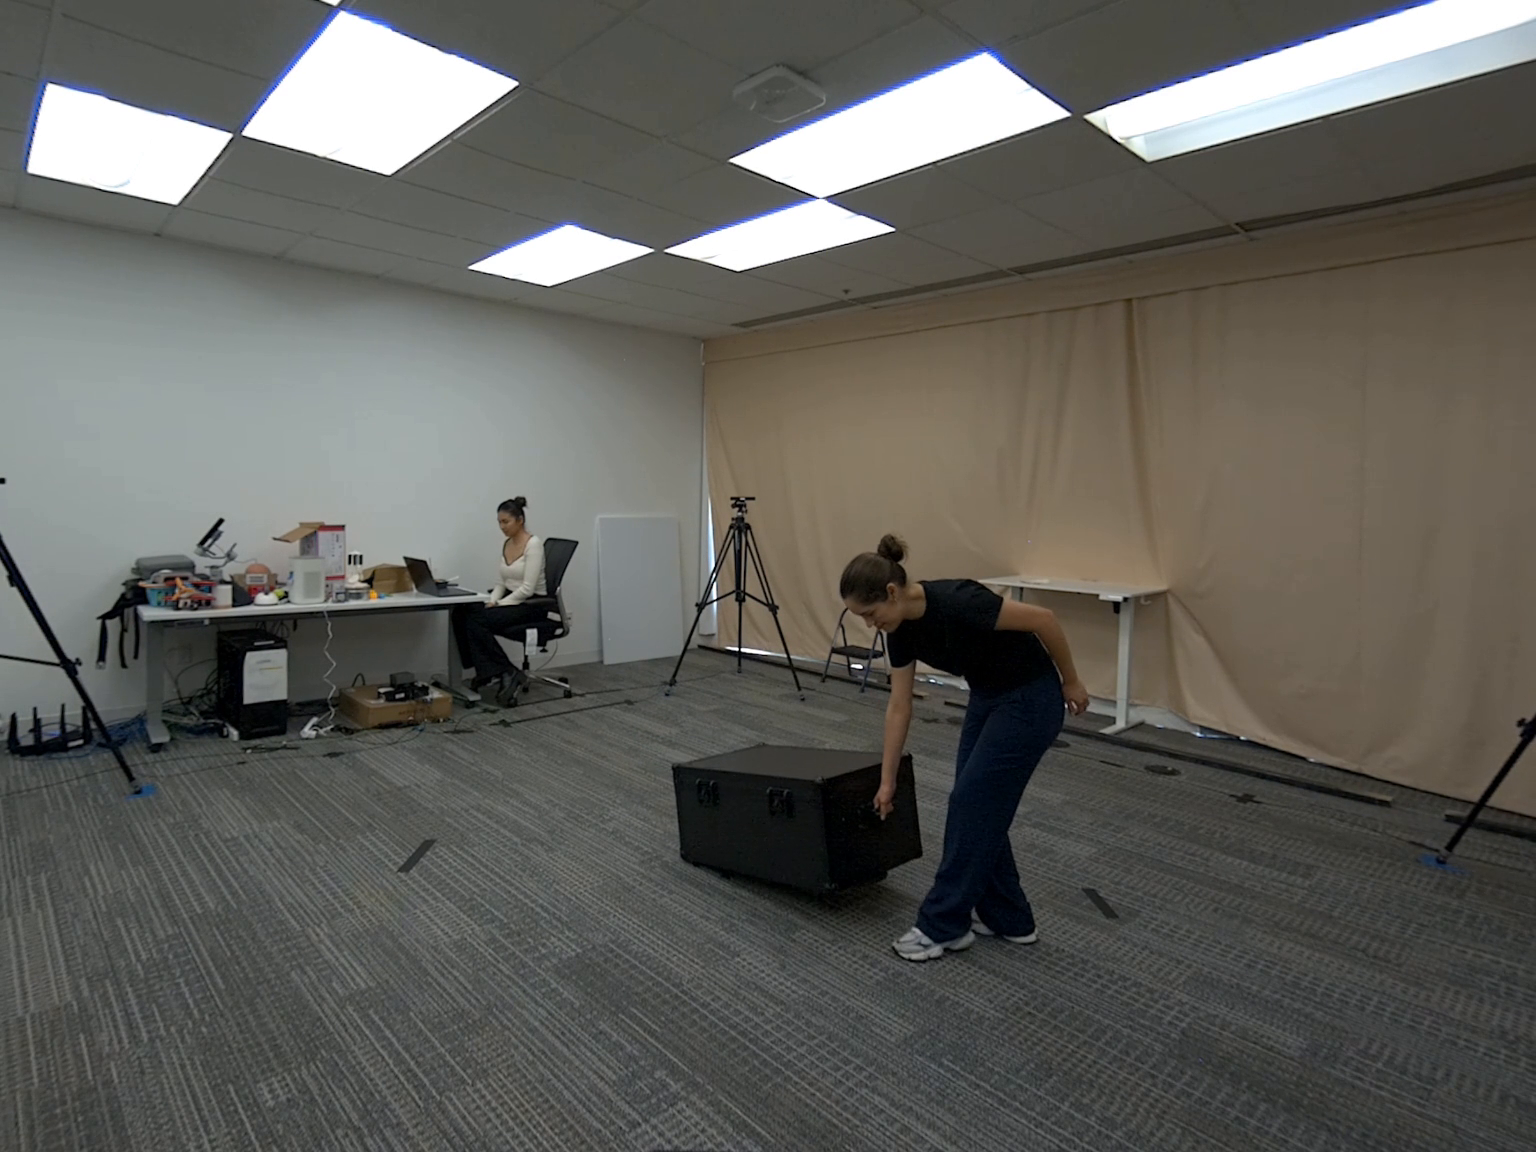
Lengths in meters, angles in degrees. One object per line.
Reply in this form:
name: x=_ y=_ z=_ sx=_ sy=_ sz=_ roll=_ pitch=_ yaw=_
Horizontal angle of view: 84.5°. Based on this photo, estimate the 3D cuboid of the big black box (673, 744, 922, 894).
big black box: x=0.065 y=0.870 z=3.117 sx=0.509 sy=0.397 sz=0.879 roll=-2 pitch=-3 yaw=-43
